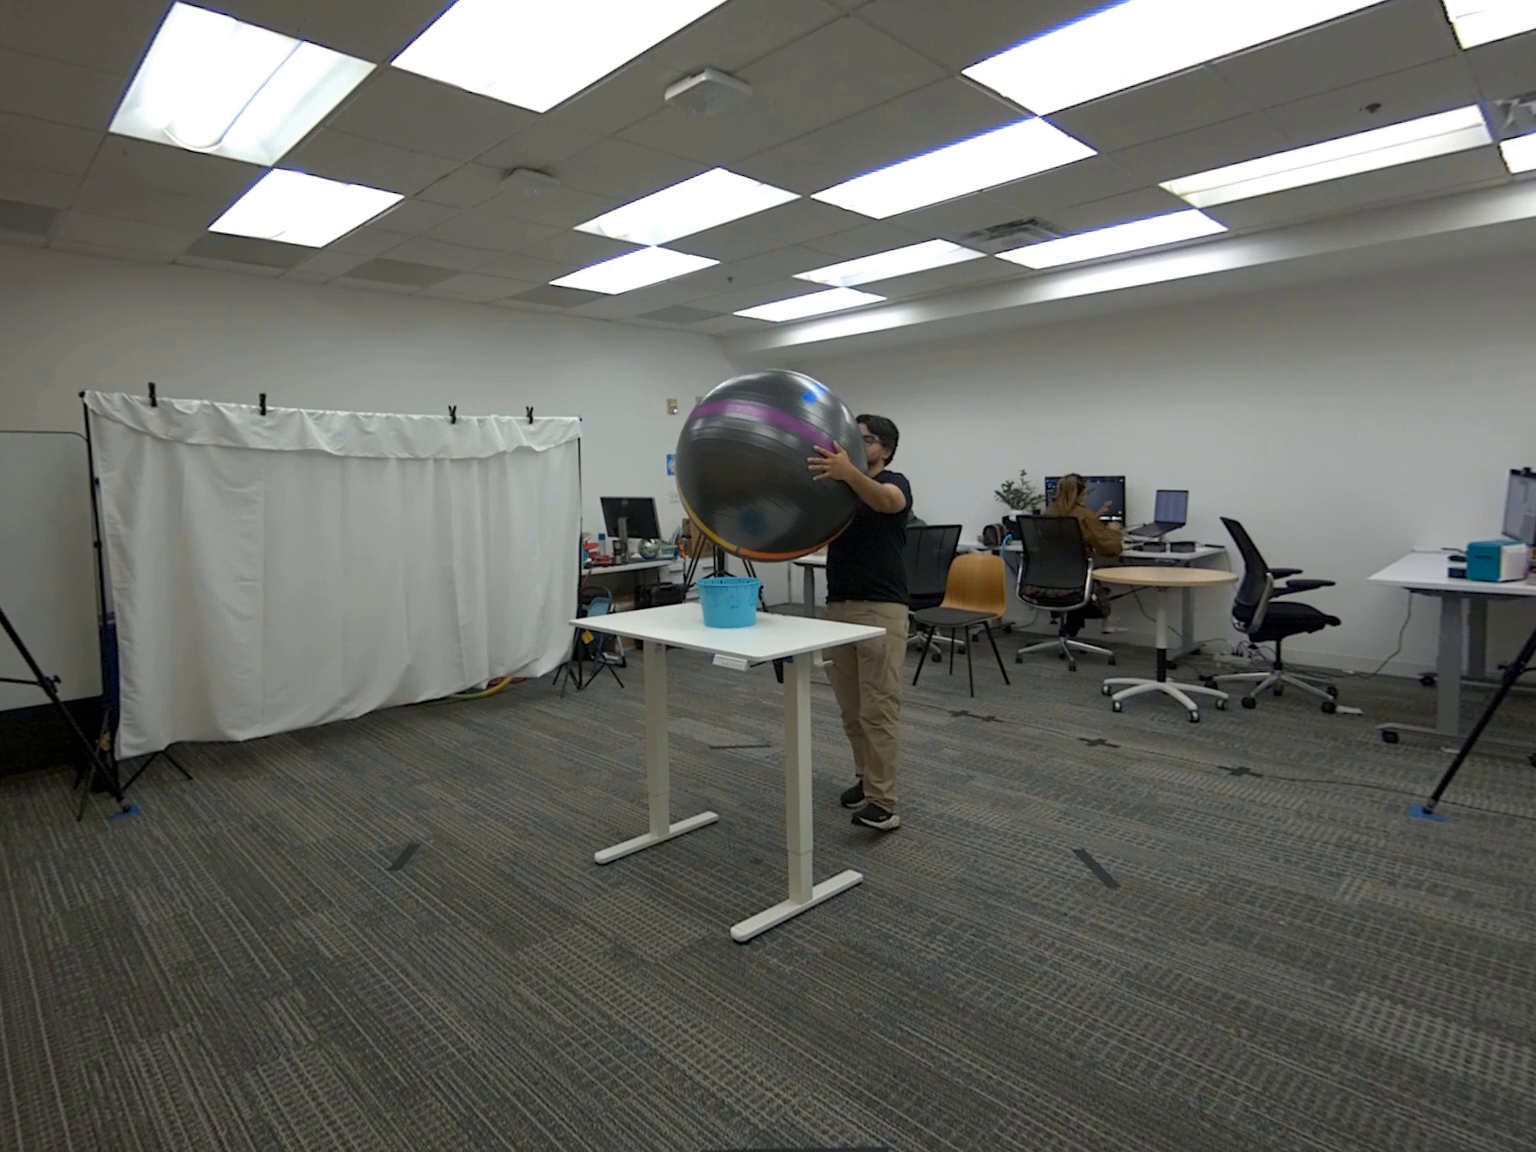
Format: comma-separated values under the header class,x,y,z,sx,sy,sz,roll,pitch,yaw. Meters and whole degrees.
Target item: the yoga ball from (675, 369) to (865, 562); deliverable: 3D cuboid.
class,x,y,z,sx,sy,sz,roll,pitch,yaw
yoga ball,0.006,-0.429,3.385,0.757,0.755,0.762,-1,5,-2
